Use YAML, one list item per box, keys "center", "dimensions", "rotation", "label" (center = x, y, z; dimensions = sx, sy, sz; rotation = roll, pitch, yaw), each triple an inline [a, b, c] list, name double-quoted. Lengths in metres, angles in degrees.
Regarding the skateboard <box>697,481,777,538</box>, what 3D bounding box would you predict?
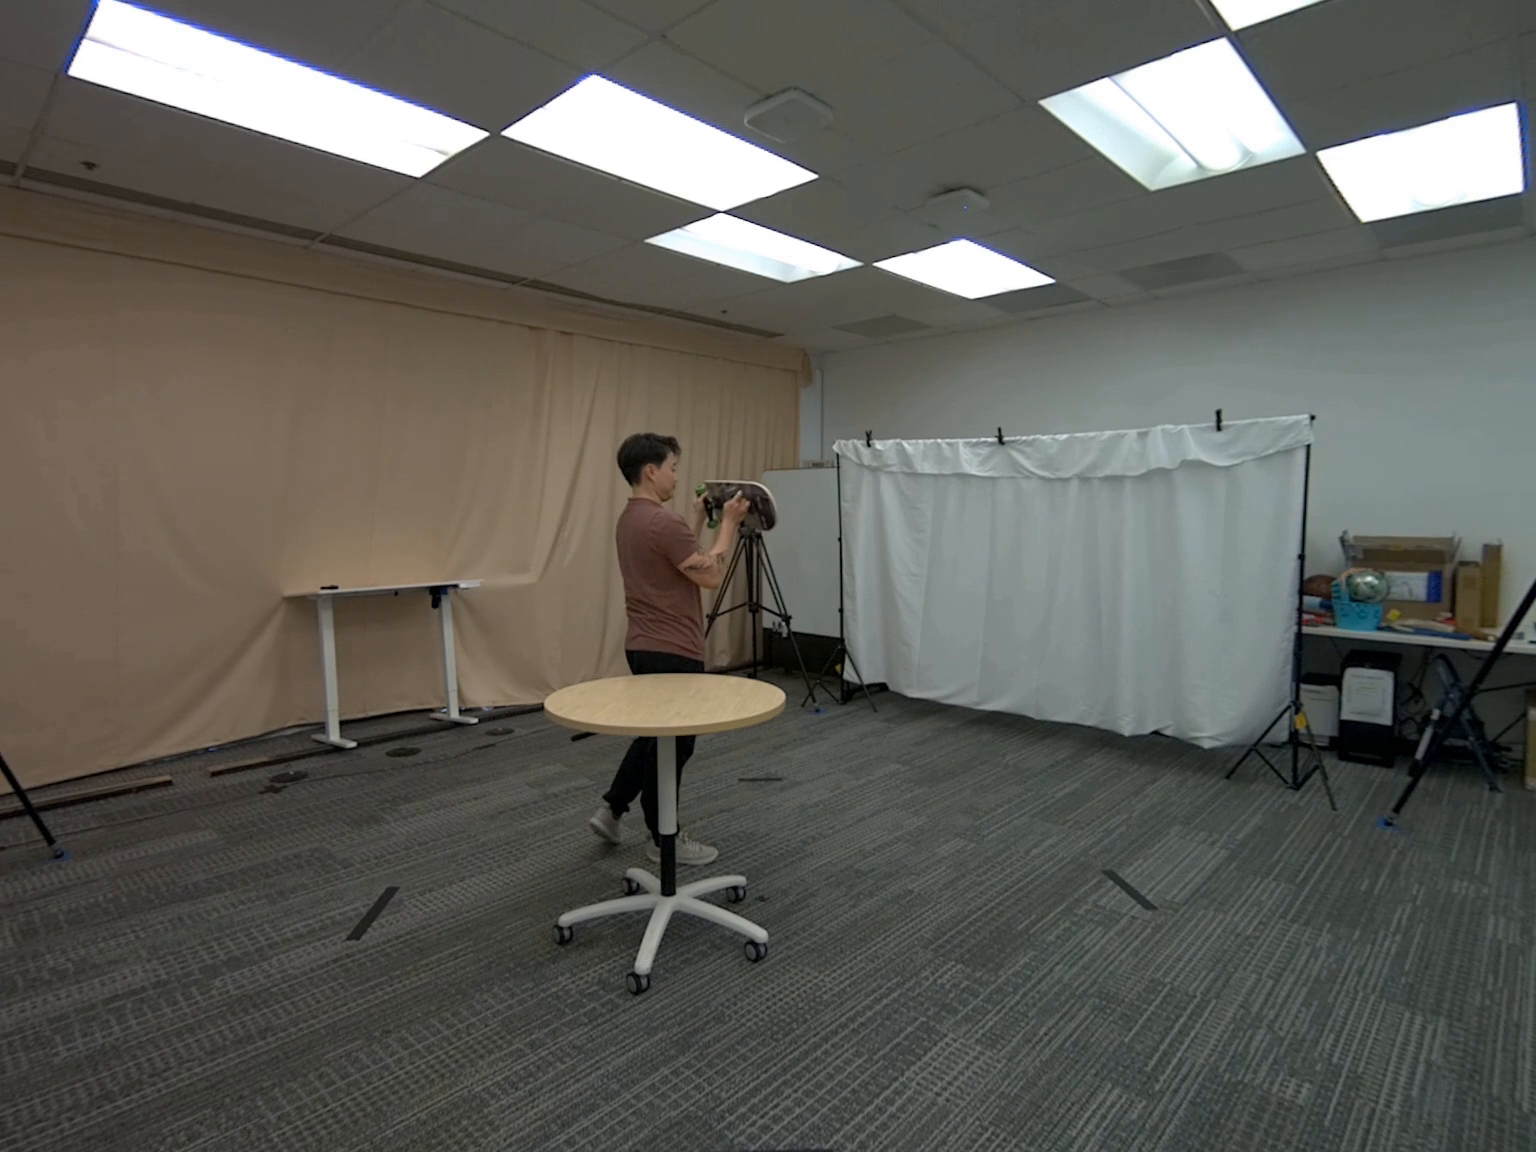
- center: [-0.157, -0.275, 3.401]
  dimensions: [0.109, 0.191, 0.804]
  rotation: [-22, 14, -17]
  label: "skateboard"
